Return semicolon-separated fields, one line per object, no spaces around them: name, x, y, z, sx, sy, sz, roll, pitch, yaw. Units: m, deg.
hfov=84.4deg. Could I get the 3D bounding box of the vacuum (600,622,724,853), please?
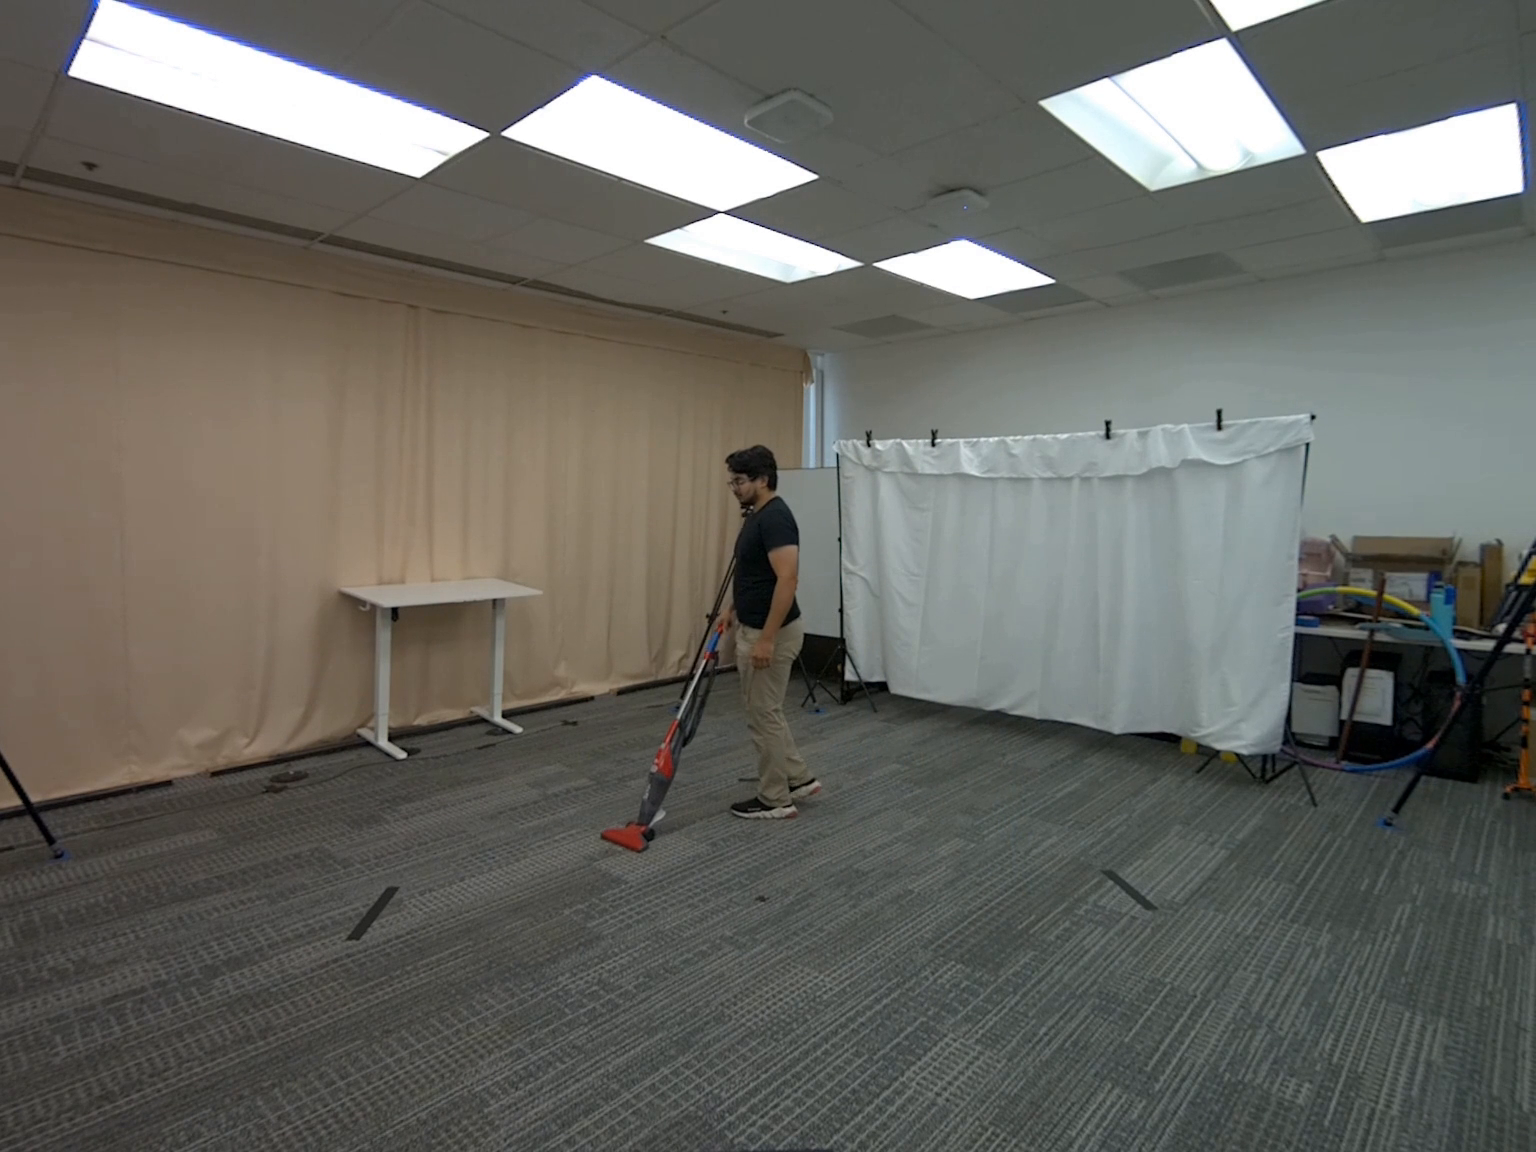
vacuum;-0.377;0.656;3.714;0.261;1.052;0.139;3;-30;41
